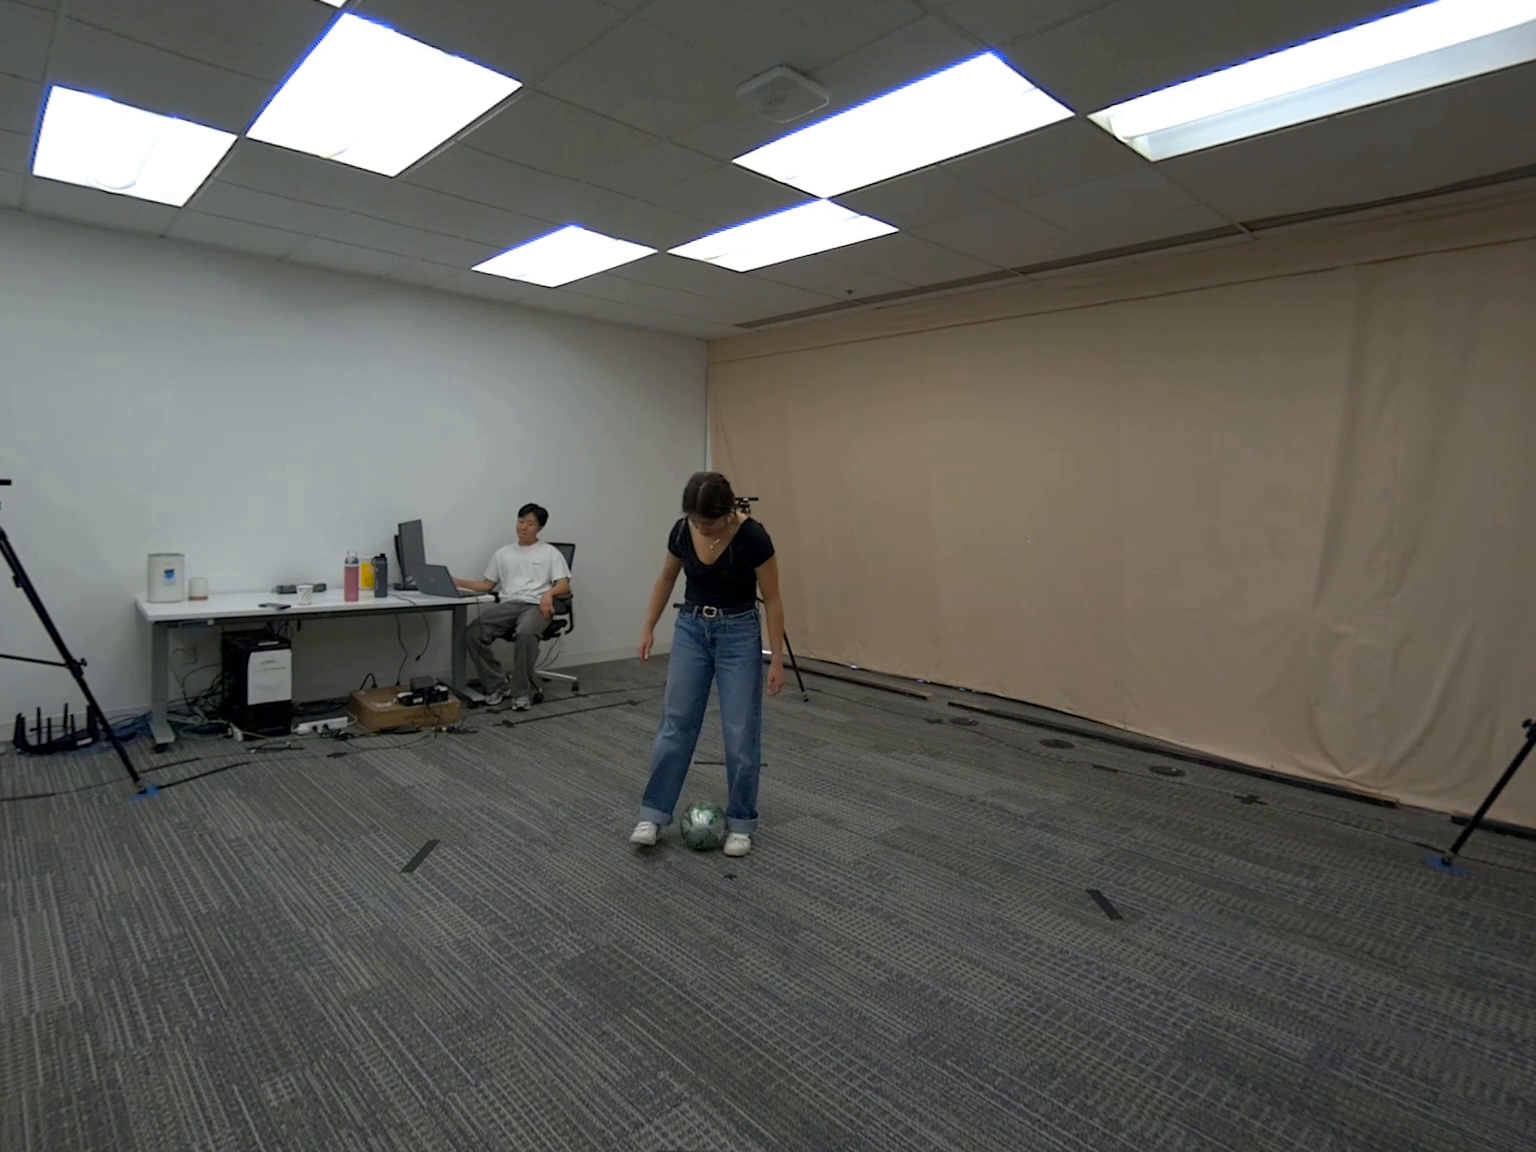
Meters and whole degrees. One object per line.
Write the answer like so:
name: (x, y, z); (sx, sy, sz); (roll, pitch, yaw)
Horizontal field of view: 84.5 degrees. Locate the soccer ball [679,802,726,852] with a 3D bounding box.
soccer ball: (-0.275, 0.990, 3.347); (0.187, 0.187, 0.188); (1, 4, -1)
